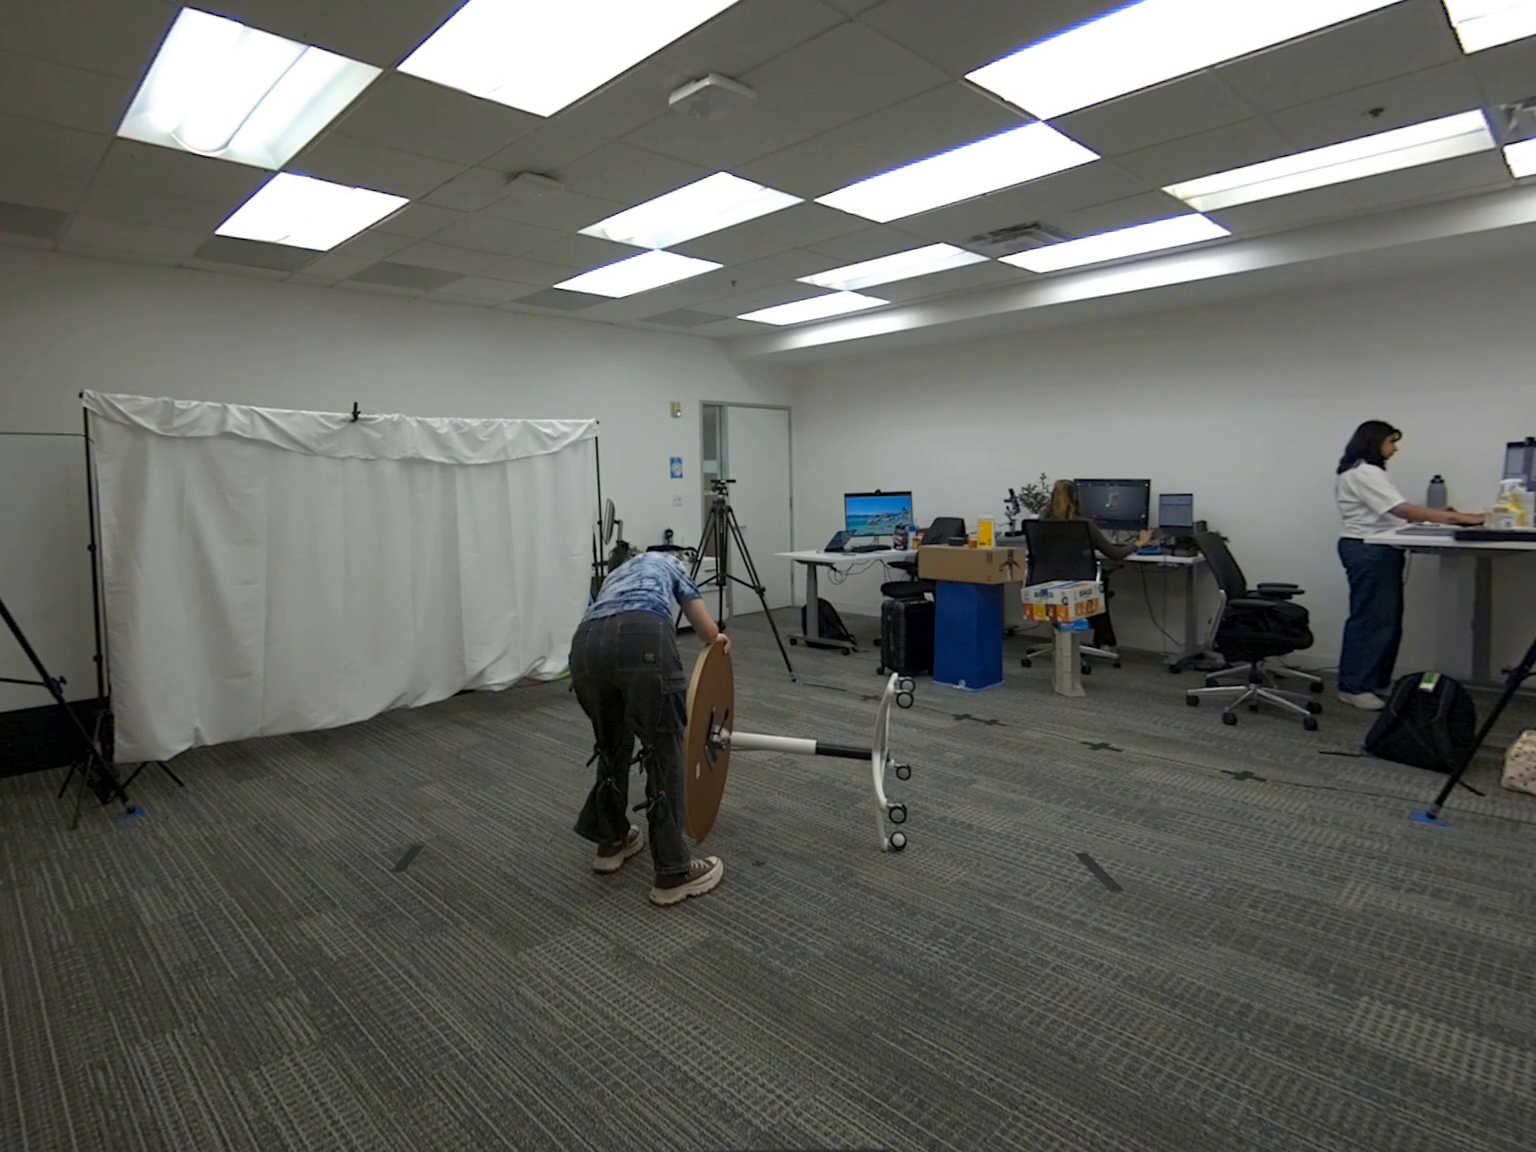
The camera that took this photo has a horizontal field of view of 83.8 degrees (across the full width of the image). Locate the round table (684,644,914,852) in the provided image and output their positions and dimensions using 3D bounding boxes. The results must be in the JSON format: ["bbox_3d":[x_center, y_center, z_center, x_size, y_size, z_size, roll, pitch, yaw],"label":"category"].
[{"bbox_3d":[0.148,0.668,3.291,0.804,0.761,0.757,3,5,12],"label":"round table"}]
